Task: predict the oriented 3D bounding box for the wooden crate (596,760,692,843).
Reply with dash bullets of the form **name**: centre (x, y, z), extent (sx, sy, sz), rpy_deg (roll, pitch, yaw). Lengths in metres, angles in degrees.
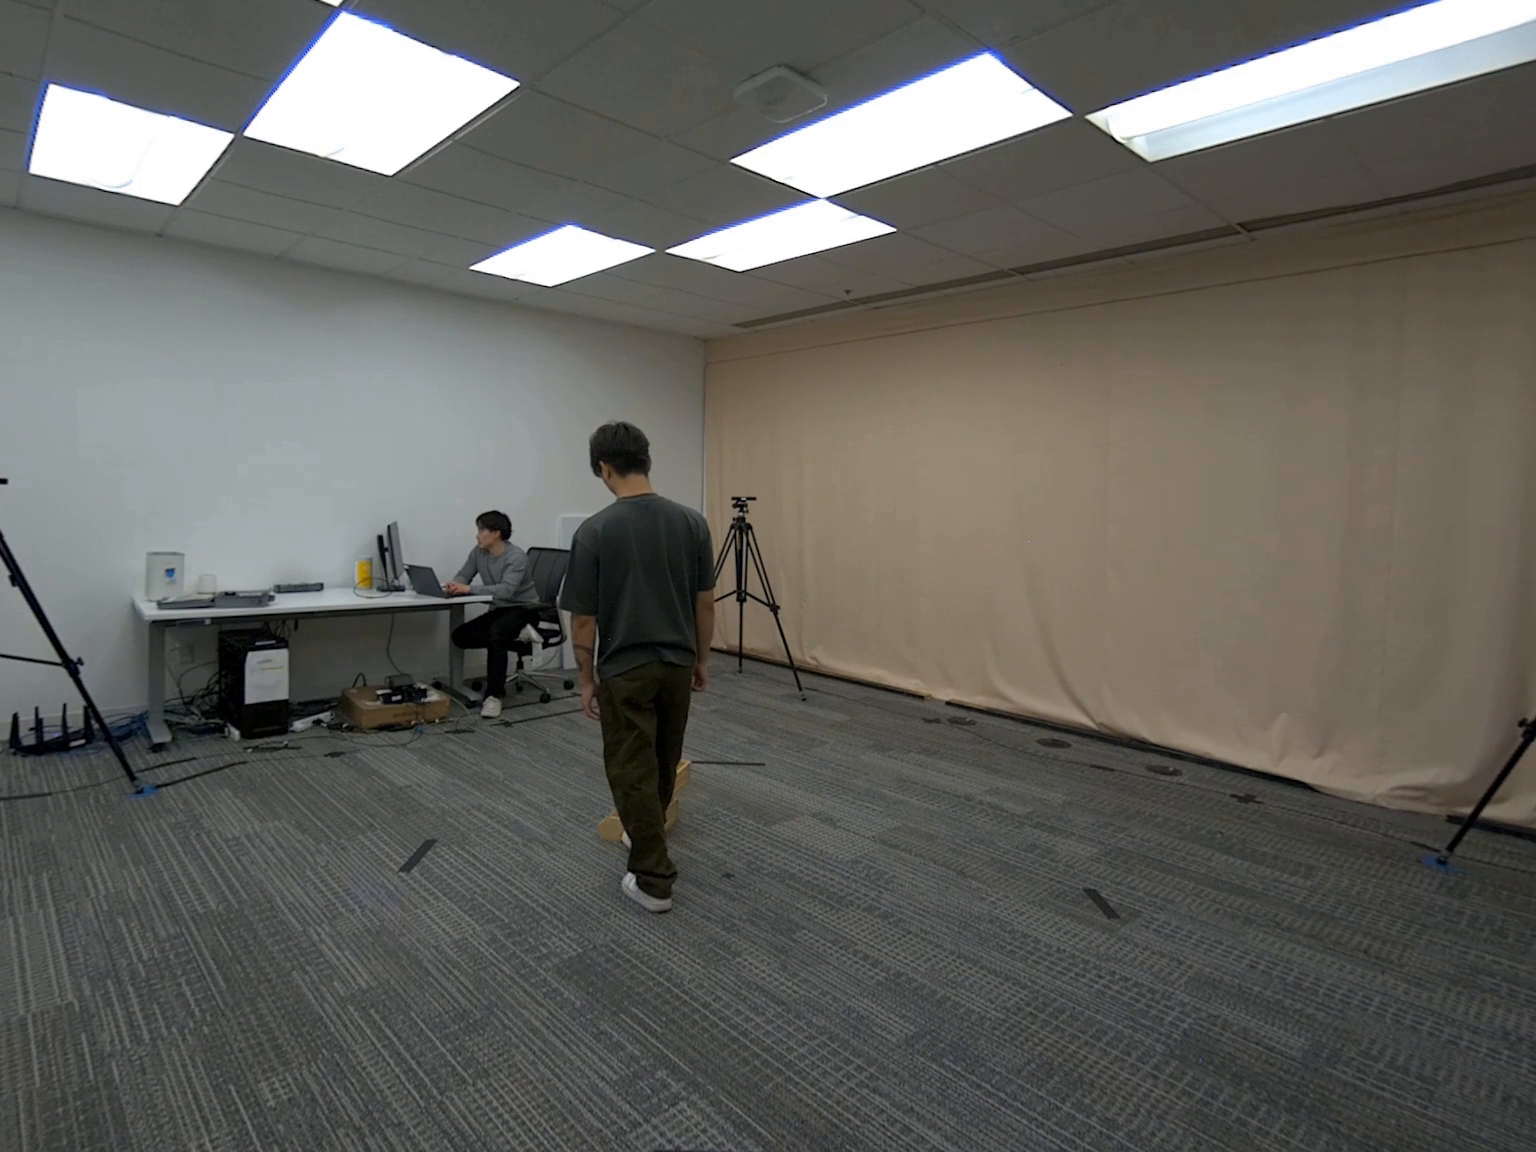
- **wooden crate**: centre (-0.531, 0.931, 3.520), extent (0.305, 0.272, 0.321), rpy_deg (3, 5, 14)
